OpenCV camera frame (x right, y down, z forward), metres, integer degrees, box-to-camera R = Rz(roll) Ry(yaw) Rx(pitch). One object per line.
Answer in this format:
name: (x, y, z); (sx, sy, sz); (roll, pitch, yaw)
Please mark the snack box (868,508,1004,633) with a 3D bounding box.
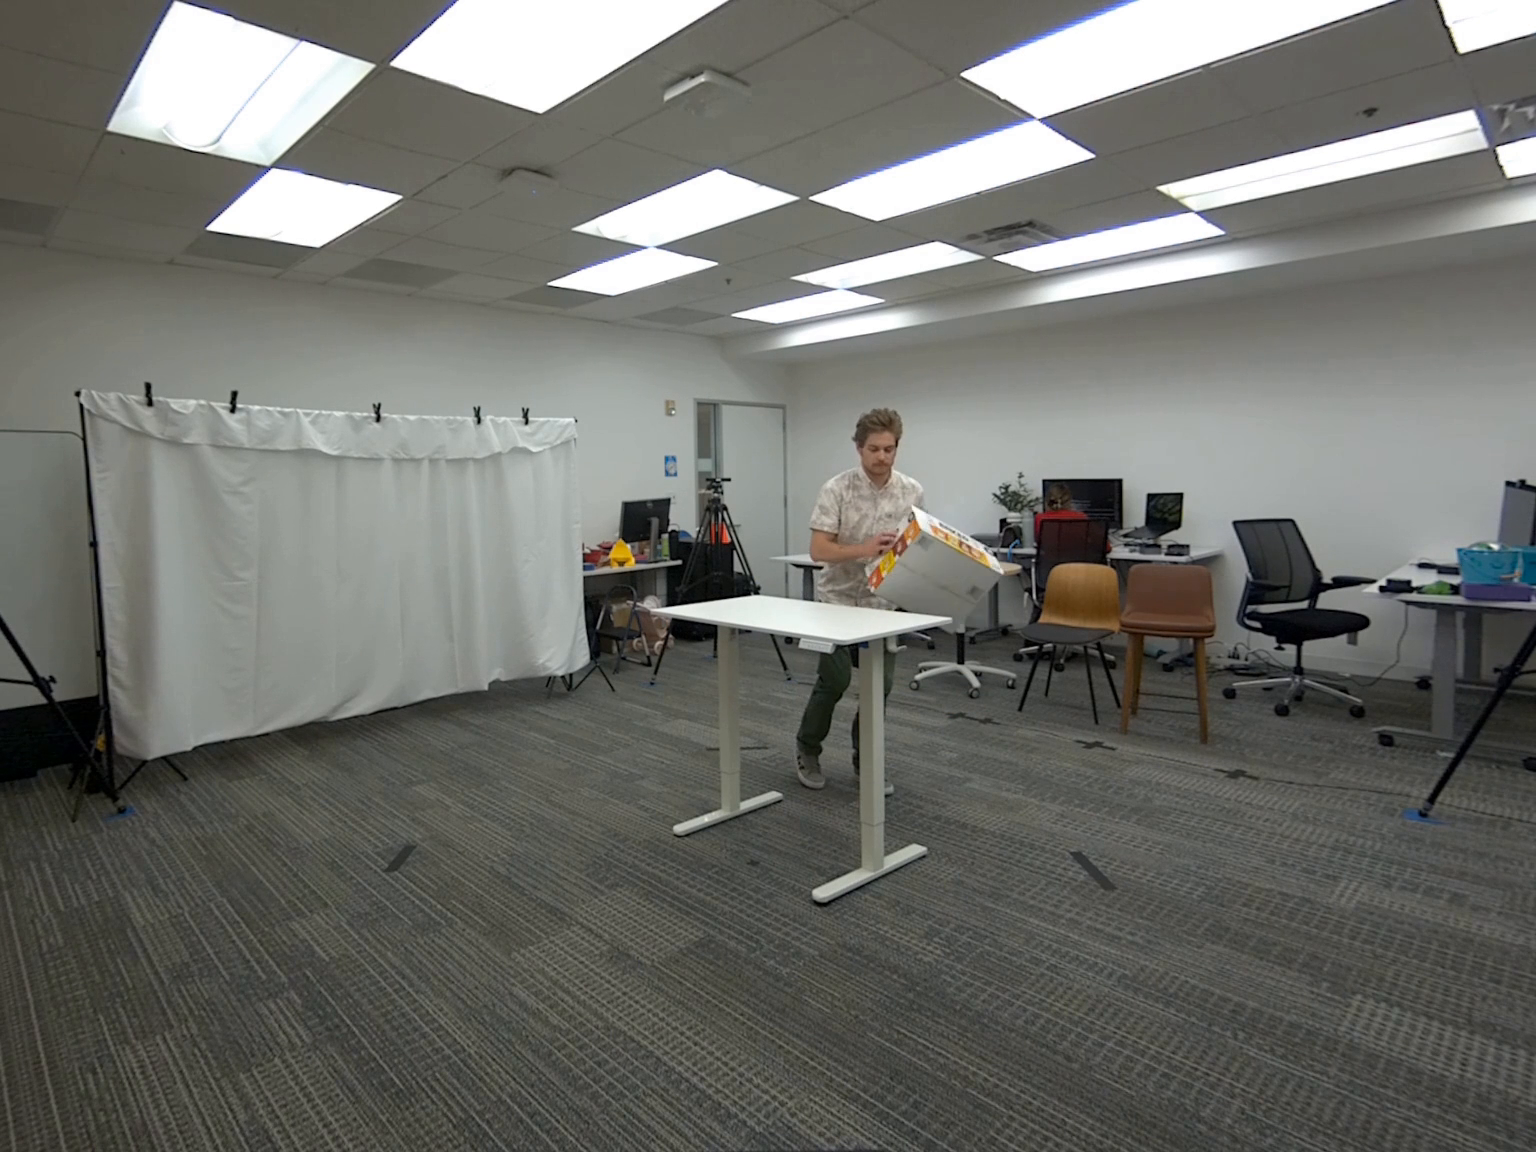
snack box: (0.661, -0.017, 3.461); (0.398, 0.338, 0.210); (26, 26, -14)
